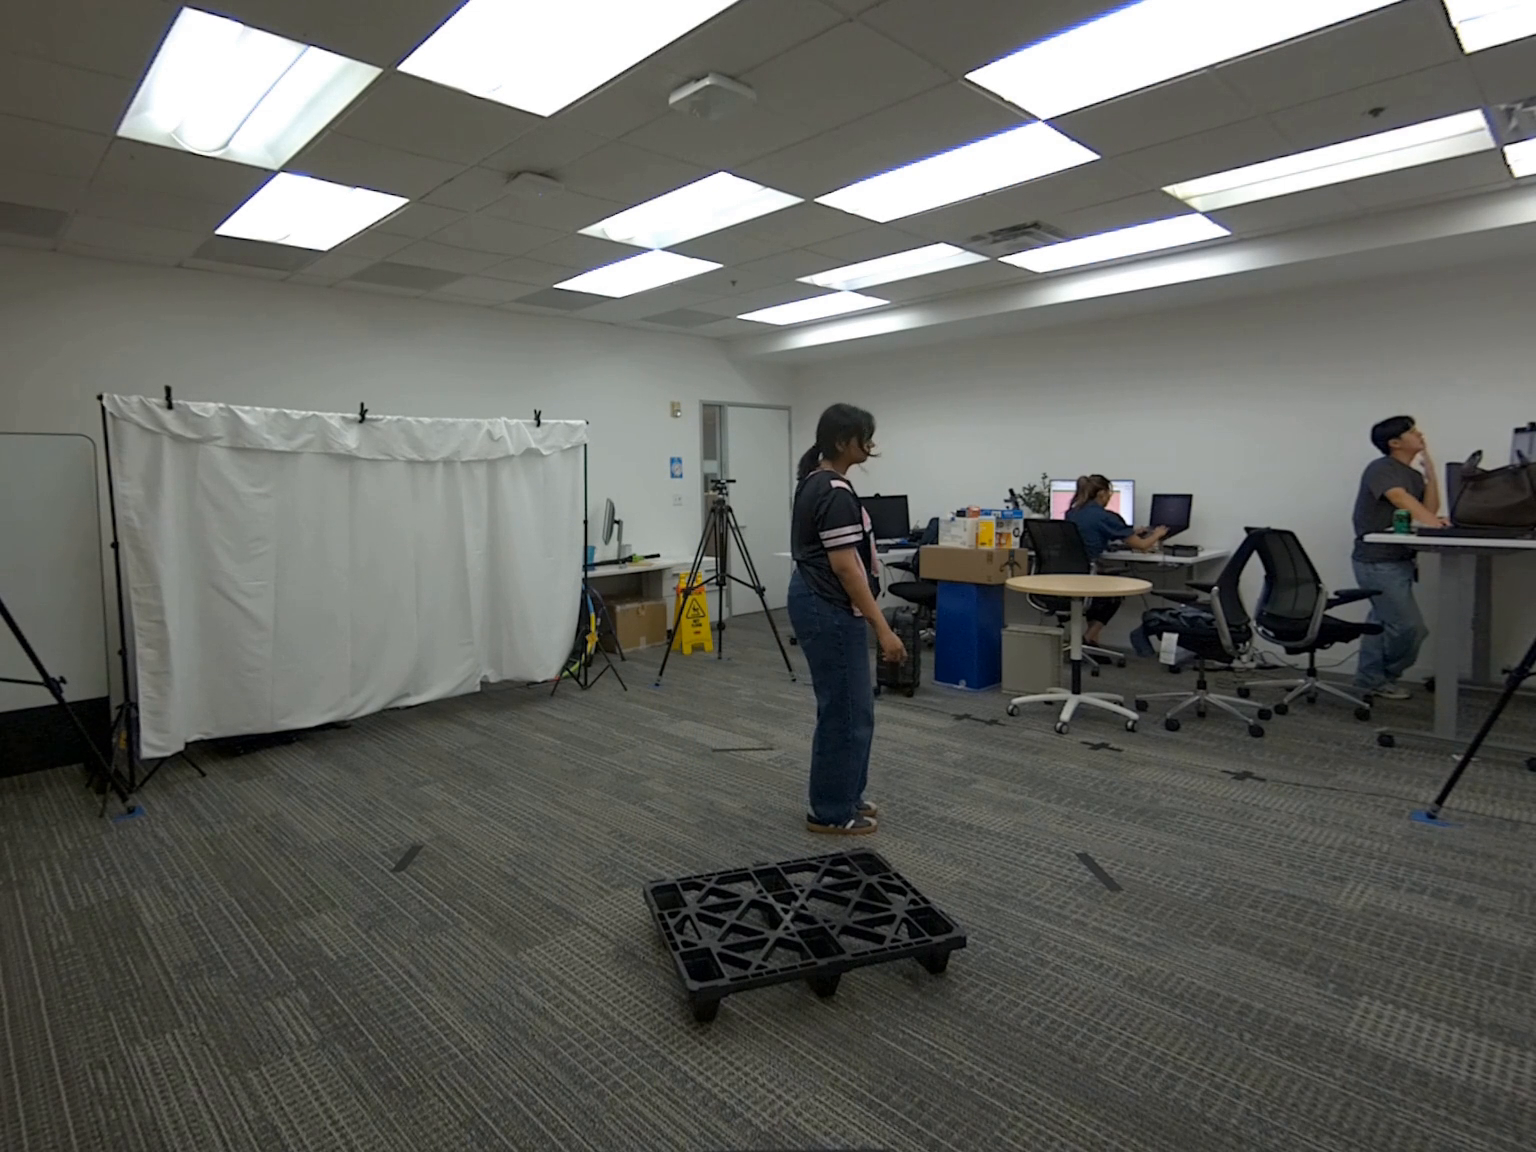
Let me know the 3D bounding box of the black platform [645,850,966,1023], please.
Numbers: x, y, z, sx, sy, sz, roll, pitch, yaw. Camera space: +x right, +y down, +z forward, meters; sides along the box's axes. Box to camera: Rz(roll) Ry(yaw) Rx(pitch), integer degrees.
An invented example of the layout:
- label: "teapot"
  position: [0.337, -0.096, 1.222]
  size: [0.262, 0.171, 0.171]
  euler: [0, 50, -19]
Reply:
- label: "black platform"
  position: [0.080, 1.043, 2.529]
  size: [0.793, 0.143, 0.617]
  euler: [-3, 6, -18]
